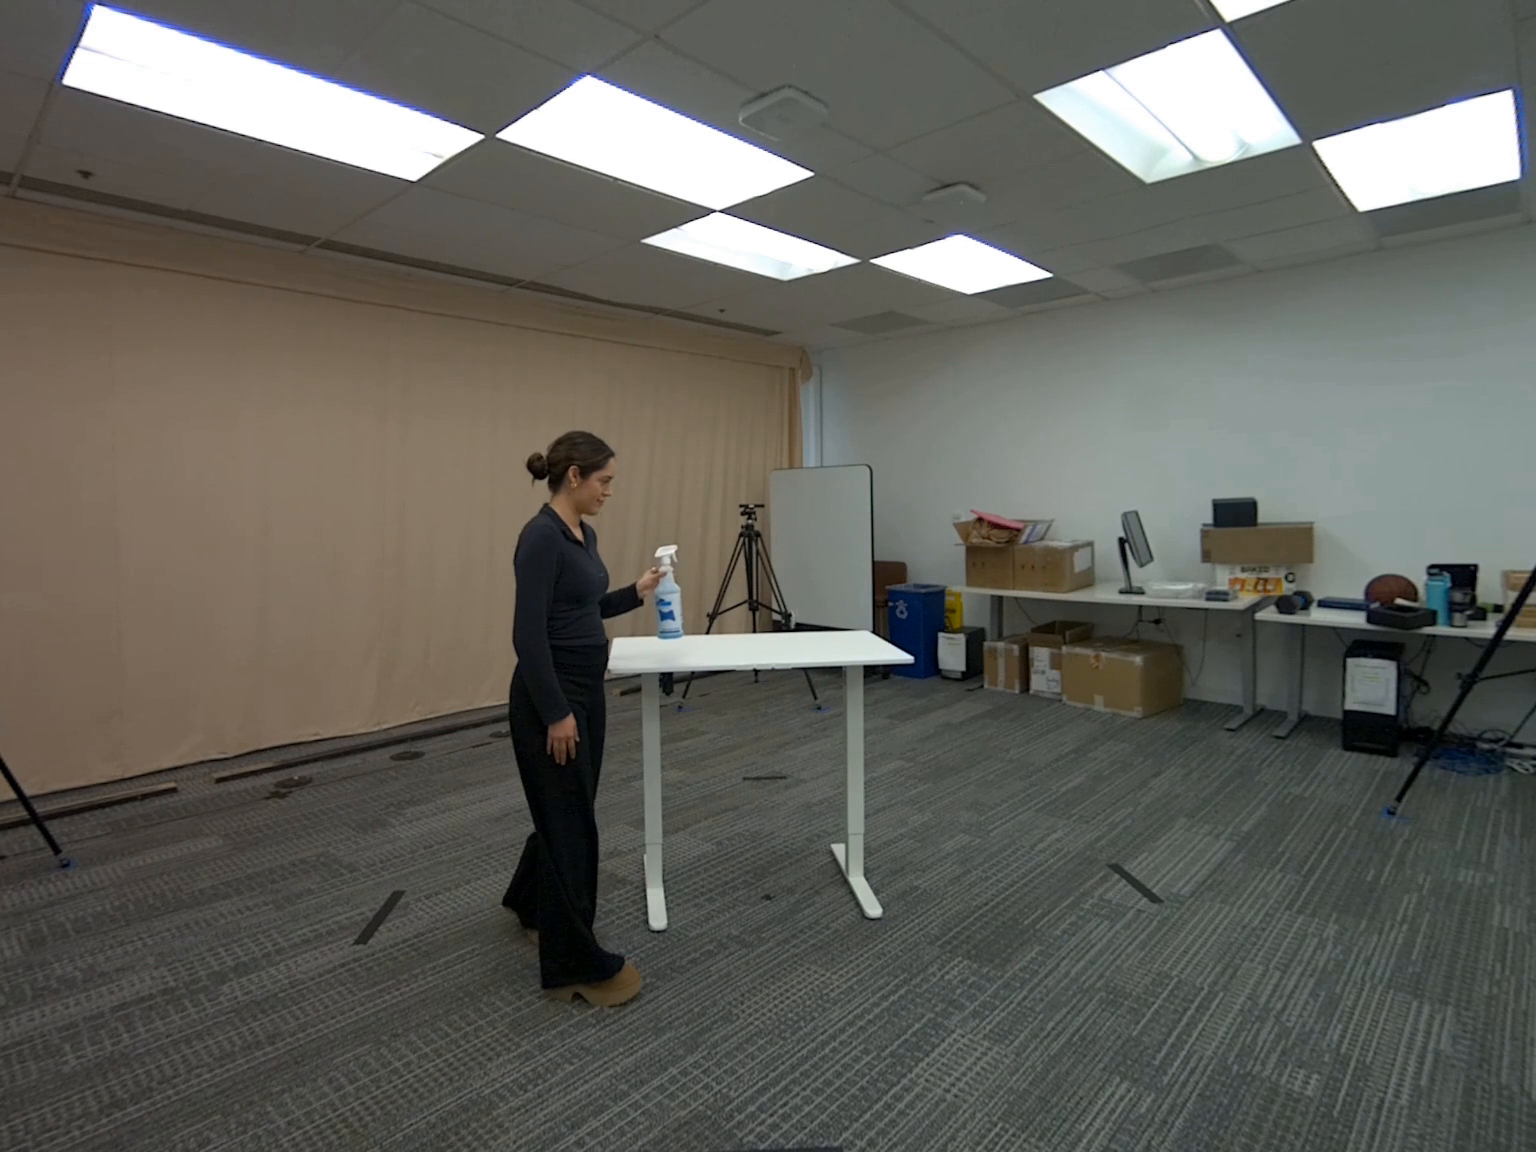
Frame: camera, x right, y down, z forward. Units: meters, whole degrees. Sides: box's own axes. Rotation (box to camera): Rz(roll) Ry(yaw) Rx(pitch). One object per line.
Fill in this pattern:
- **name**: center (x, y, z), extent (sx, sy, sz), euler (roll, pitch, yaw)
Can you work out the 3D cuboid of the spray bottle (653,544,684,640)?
- **spray bottle**: center (-0.326, 0.053, 2.708), extent (0.088, 0.297, 0.089), euler (-2, 3, -19)
